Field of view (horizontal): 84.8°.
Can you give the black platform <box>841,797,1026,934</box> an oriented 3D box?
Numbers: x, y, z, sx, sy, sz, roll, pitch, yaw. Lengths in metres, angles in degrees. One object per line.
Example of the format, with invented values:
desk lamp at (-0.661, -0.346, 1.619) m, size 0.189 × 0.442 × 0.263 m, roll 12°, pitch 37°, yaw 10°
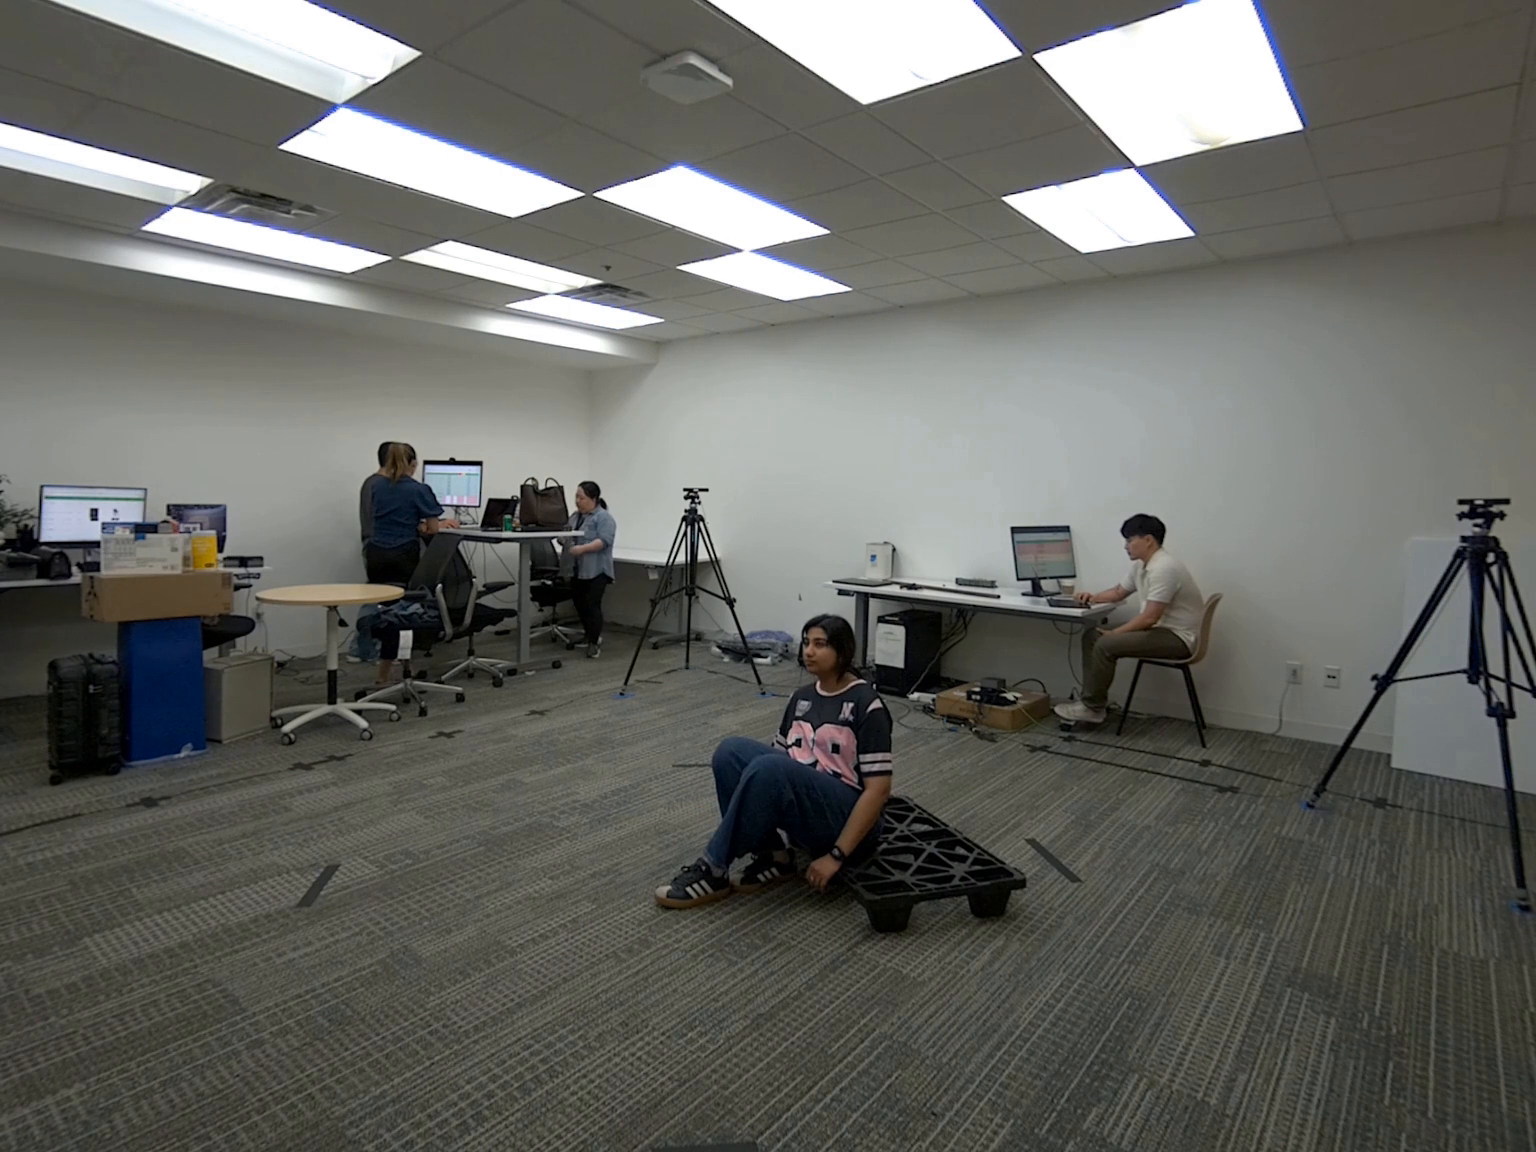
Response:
black platform at (0.432, 1.019, 3.086) m, size 0.594 × 0.143 × 0.824 m, roll -1°, pitch 5°, yaw -20°
